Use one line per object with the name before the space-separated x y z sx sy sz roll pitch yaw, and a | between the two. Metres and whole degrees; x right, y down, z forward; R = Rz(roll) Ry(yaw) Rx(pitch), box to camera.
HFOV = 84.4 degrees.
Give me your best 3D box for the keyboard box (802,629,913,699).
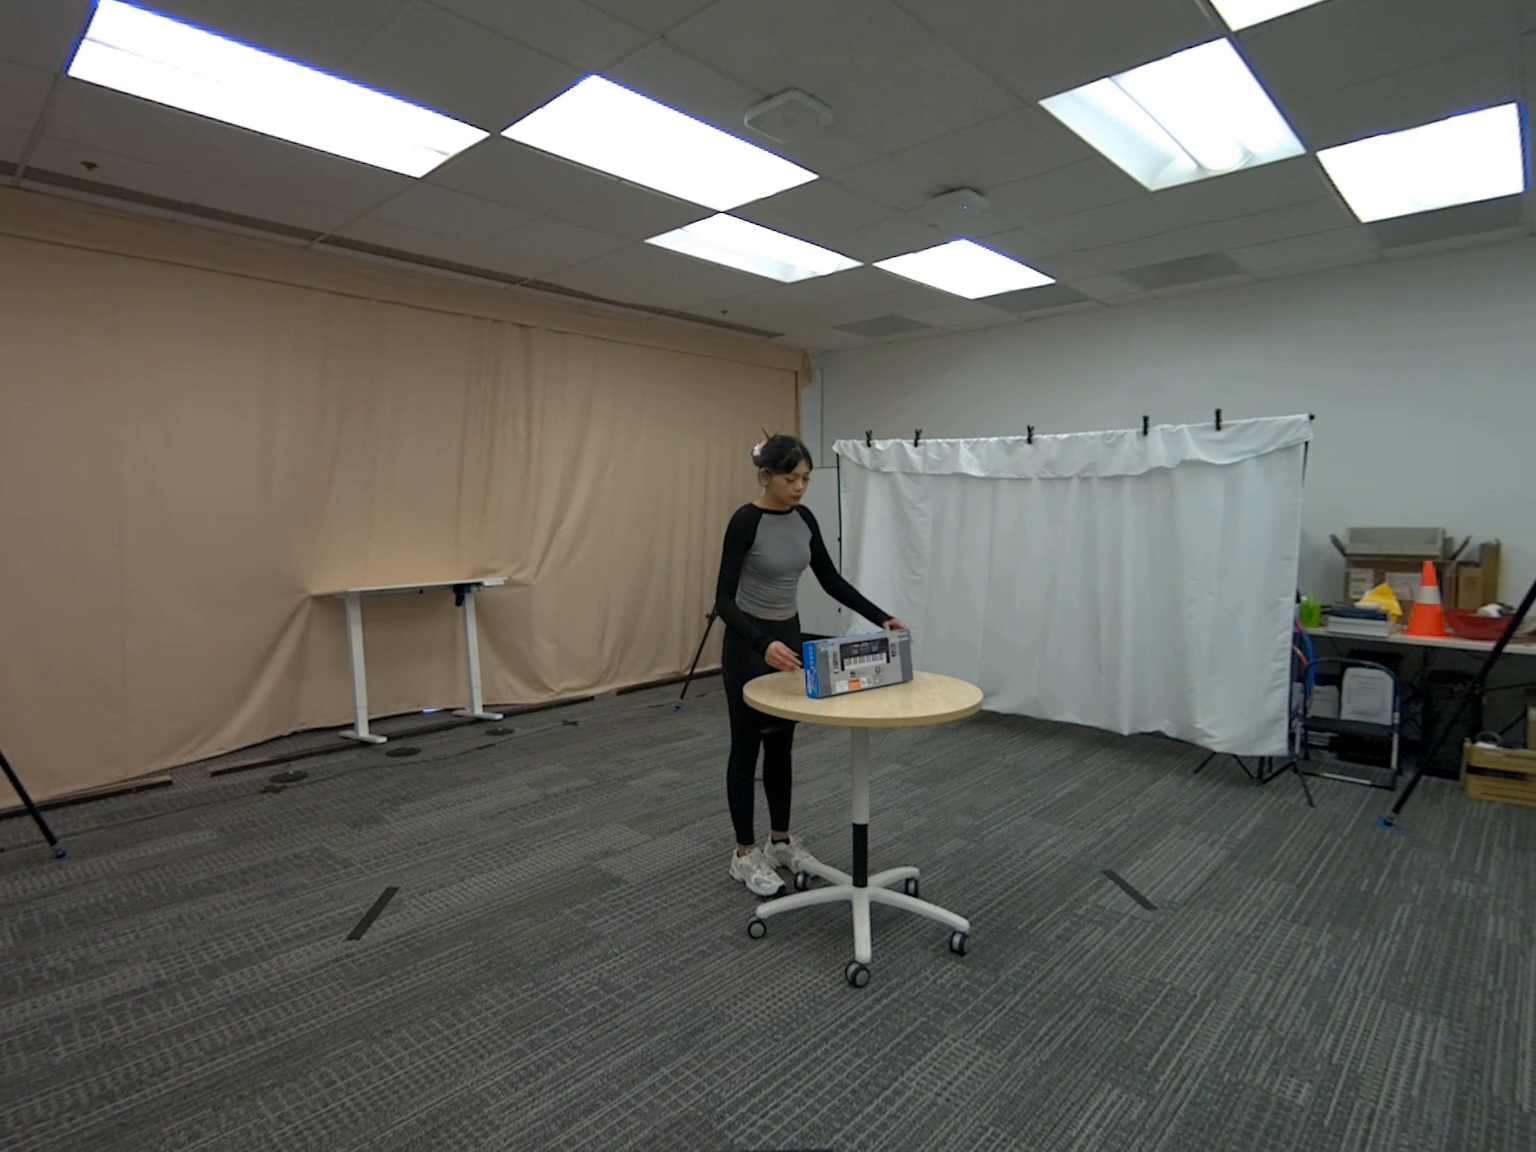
keyboard box | 0.304 0.285 2.741 0.424 0.176 0.061 -3 -3 -36
